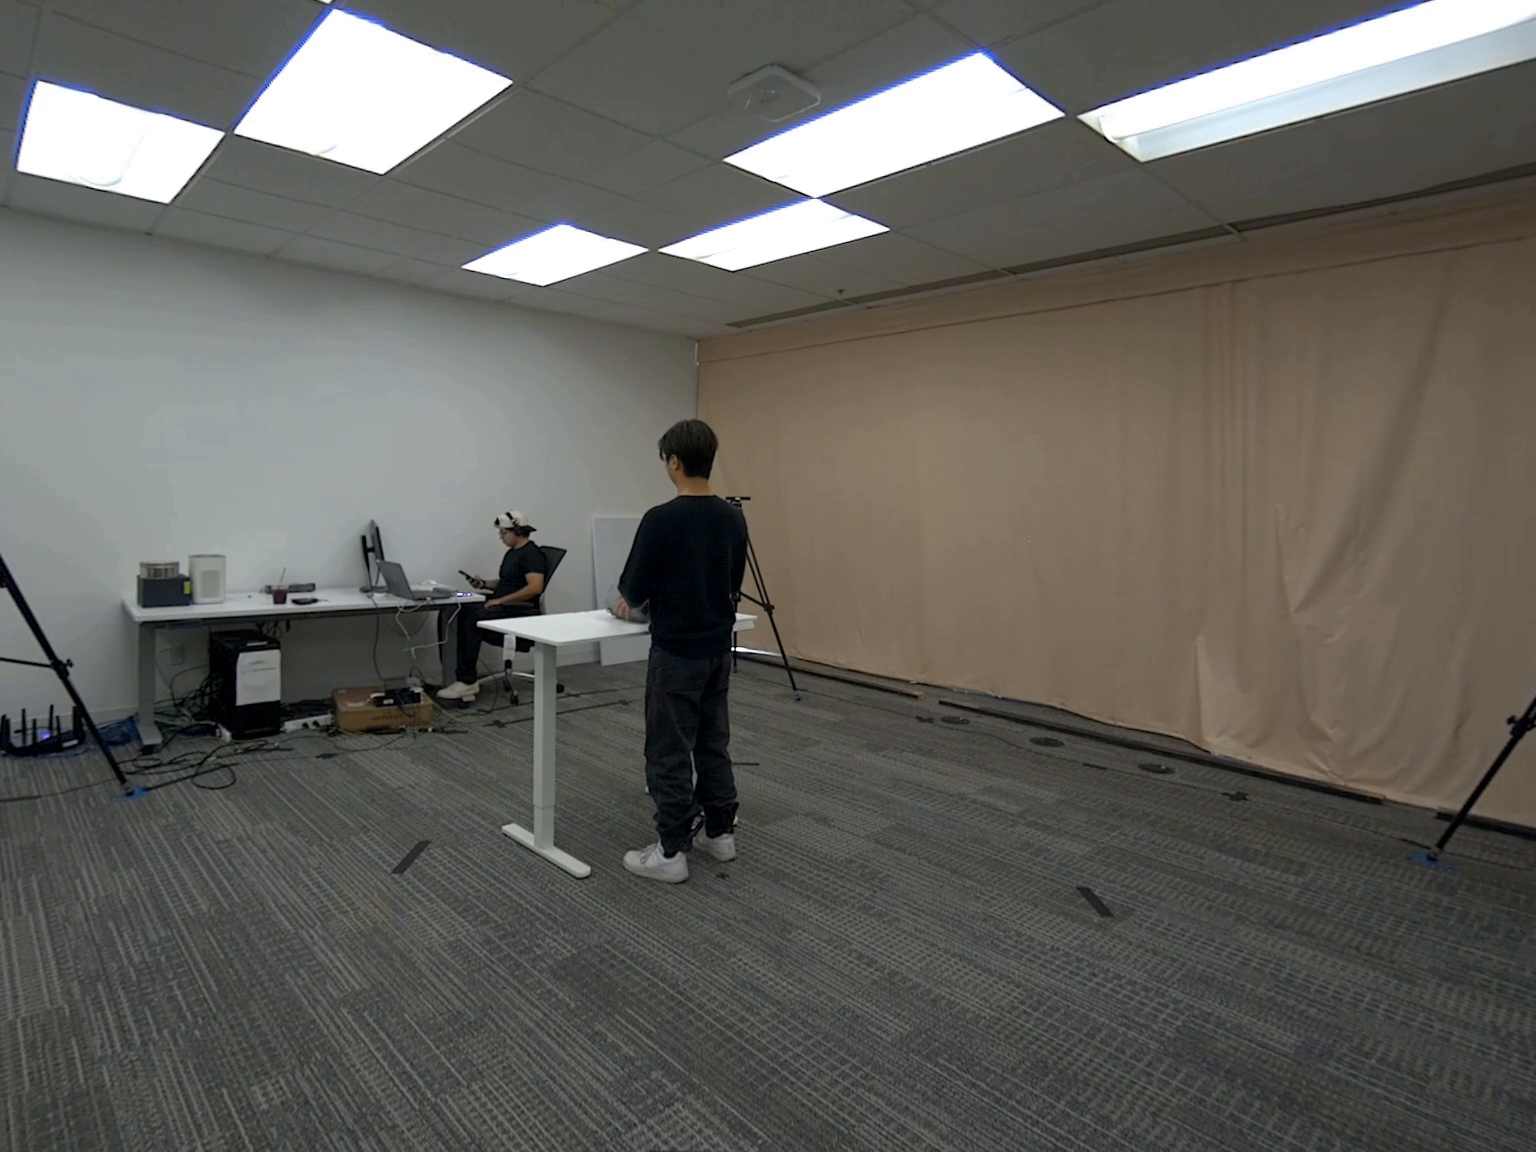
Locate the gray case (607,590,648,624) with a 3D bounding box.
[{"bbox_3d":[-0.535,0.061,3.490,0.267,0.258,0.101,5,-37,46],"label":"gray case"}]
